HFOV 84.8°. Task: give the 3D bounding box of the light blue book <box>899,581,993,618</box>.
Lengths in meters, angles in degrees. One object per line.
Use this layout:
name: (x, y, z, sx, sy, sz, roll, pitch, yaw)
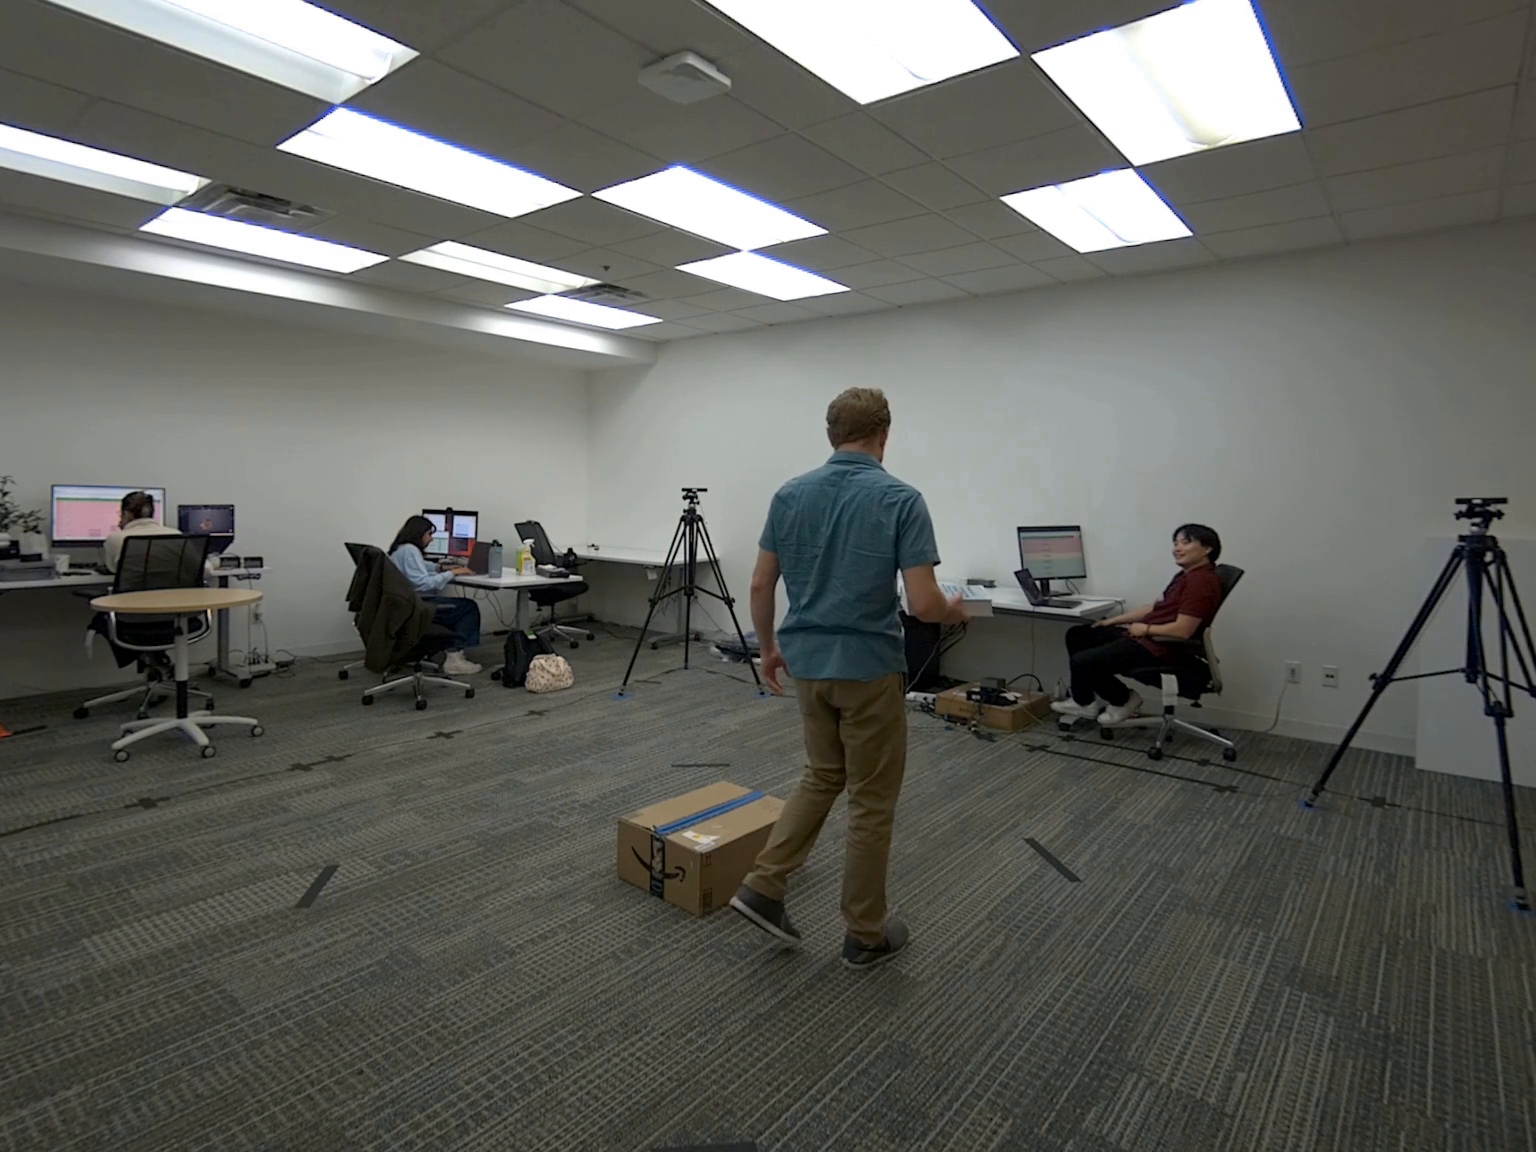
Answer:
light blue book: (0.555, 0.070, 2.700, 0.263, 0.058, 0.192, -1, 12, 6)
